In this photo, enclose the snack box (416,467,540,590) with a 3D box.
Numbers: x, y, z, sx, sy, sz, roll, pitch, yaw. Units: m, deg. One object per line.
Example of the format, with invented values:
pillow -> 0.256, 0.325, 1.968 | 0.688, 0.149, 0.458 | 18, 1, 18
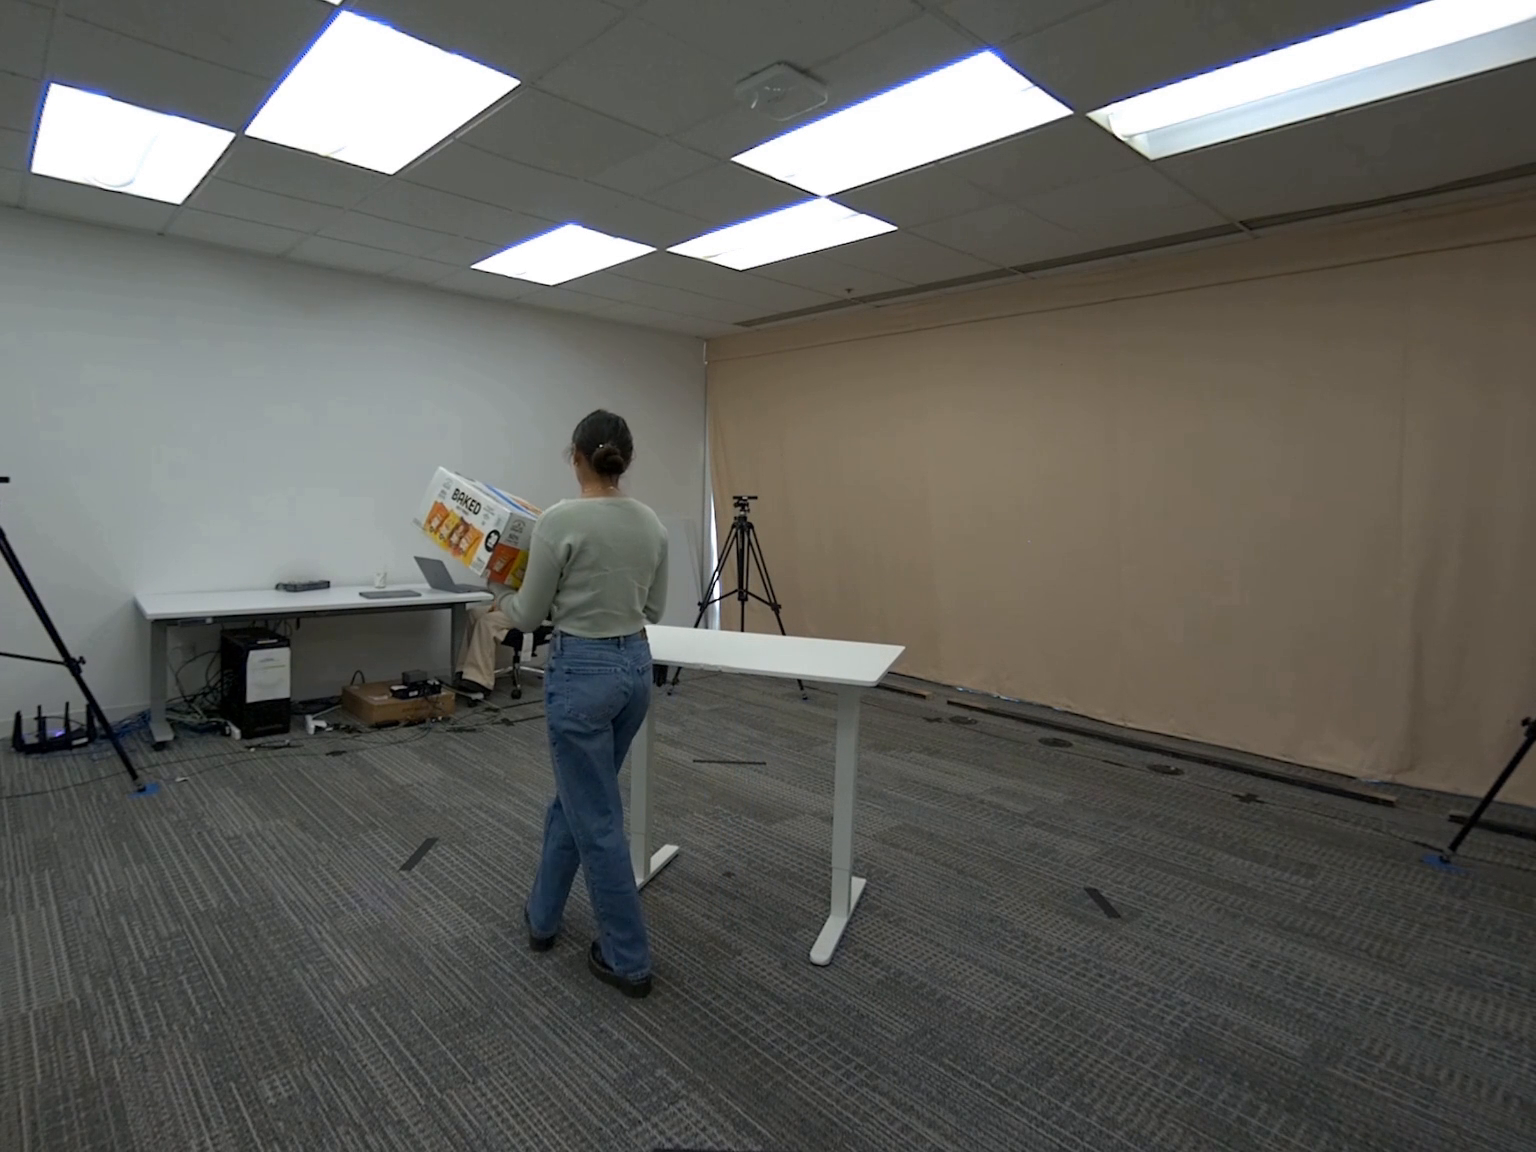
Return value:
snack box -> -0.830, -0.128, 2.594 | 0.417, 0.205, 0.330 | 28, 3, 36
